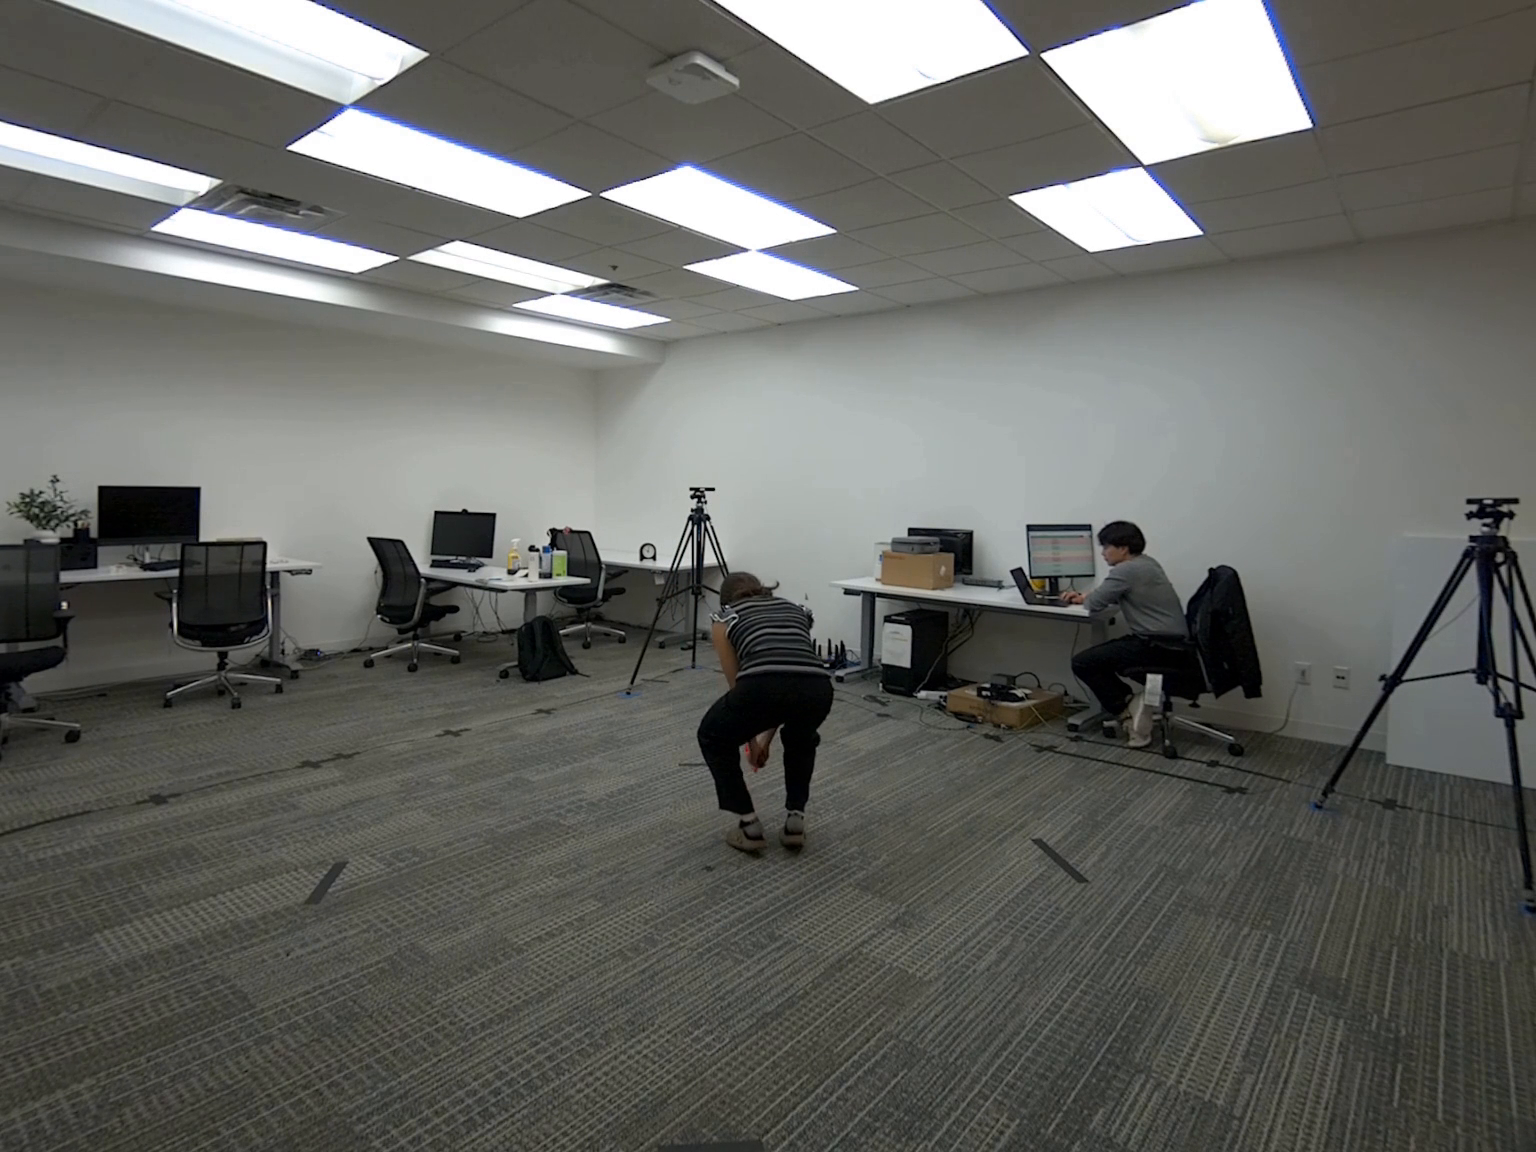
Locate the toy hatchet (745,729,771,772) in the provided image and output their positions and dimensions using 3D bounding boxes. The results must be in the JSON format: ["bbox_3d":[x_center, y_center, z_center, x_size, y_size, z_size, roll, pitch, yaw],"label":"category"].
[{"bbox_3d":[-0.068,0.788,3.576,0.029,0.129,0.273,-18,11,-2],"label":"toy hatchet"}]
